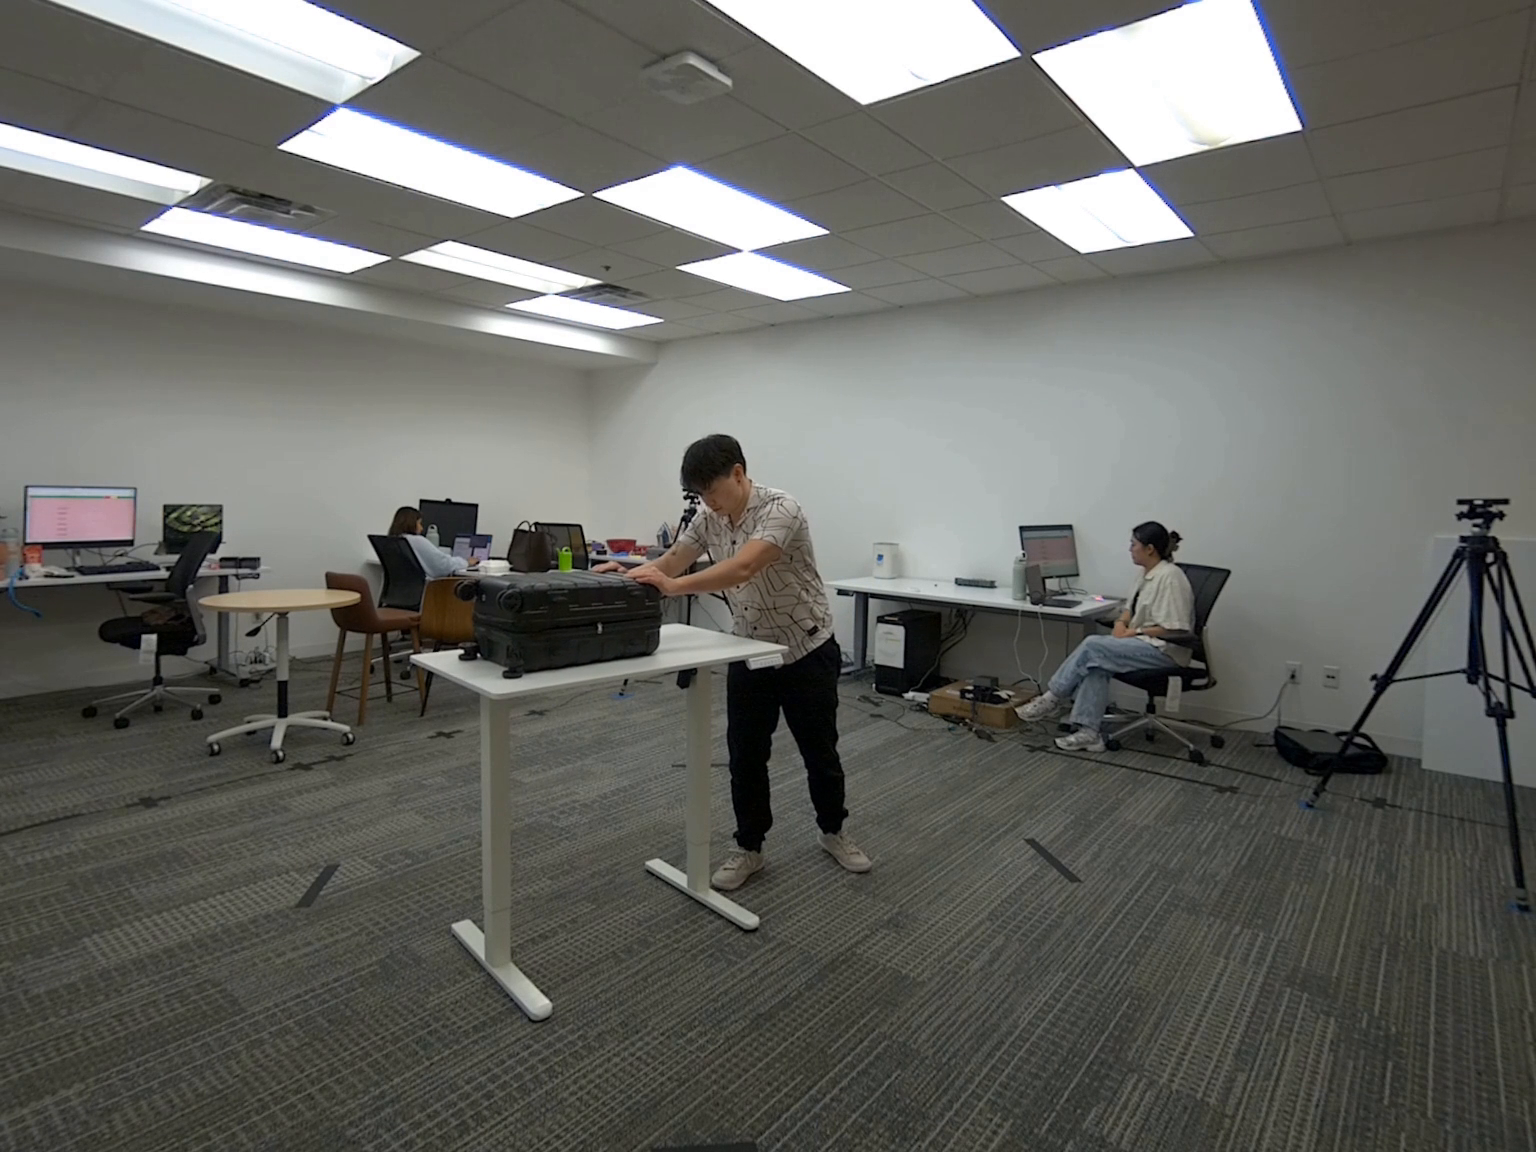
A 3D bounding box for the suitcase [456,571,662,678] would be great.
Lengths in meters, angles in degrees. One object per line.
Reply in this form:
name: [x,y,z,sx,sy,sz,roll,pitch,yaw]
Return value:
suitcase: [-0.620,0.121,2.552,0.533,0.247,0.388,-4,6,-42]
